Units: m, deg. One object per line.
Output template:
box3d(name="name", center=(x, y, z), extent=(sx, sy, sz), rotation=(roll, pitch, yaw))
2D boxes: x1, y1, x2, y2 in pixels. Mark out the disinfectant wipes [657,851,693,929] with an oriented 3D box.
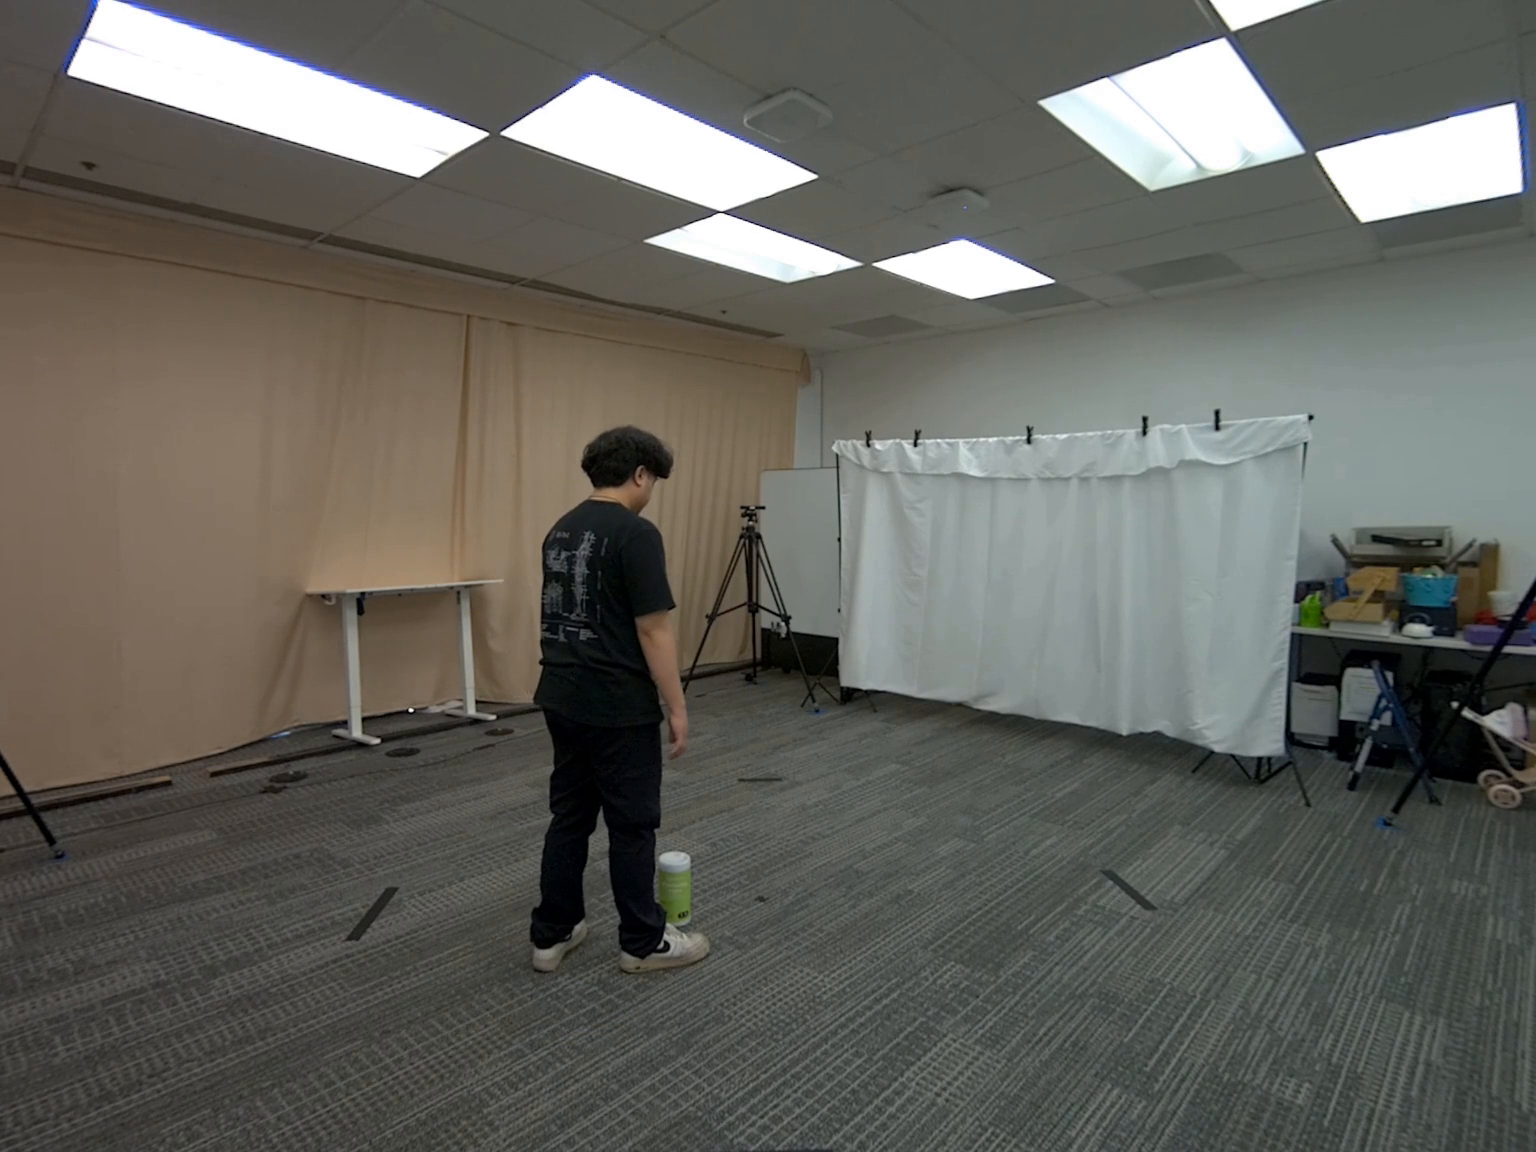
box3d(name="disinfectant wipes", center=(-0.317, 1.052, 2.826), extent=(0.118, 0.217, 0.118), rotation=(0, 3, -2))
